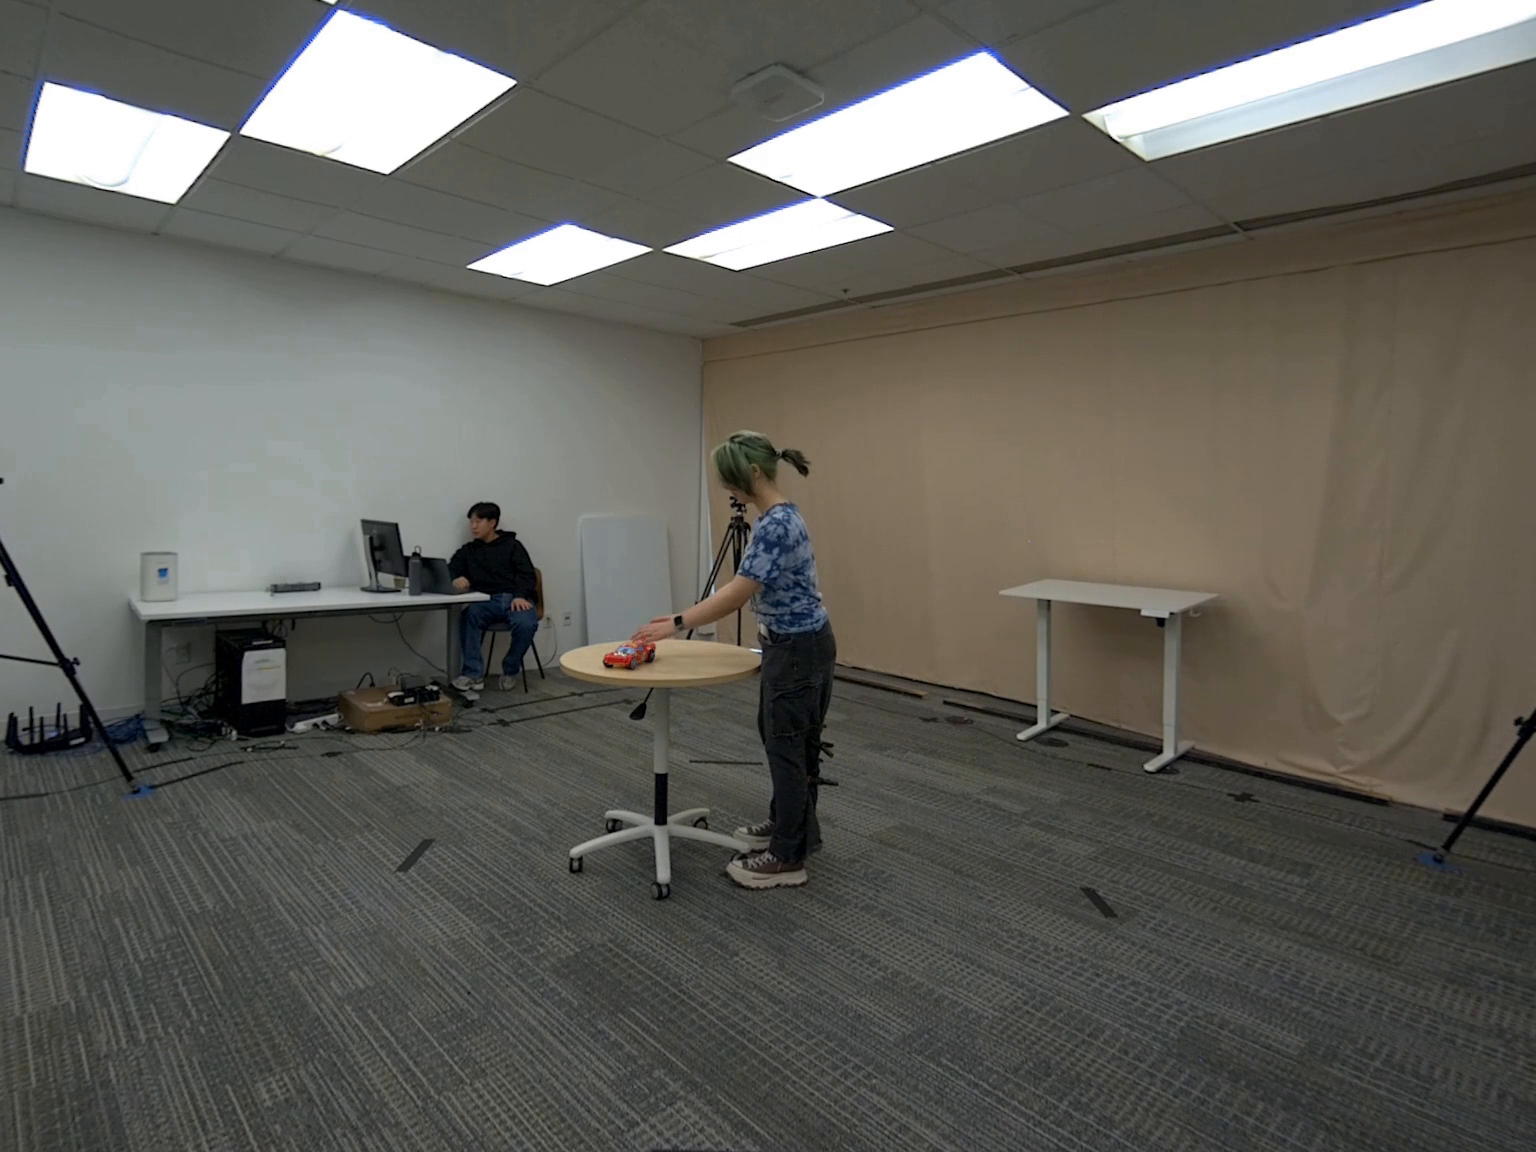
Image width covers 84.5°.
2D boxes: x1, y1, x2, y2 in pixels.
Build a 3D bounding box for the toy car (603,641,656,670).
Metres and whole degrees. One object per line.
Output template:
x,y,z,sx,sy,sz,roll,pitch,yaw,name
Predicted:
-0.498,0.286,3.057,0.132,0.082,0.253,2,16,19,toy car
